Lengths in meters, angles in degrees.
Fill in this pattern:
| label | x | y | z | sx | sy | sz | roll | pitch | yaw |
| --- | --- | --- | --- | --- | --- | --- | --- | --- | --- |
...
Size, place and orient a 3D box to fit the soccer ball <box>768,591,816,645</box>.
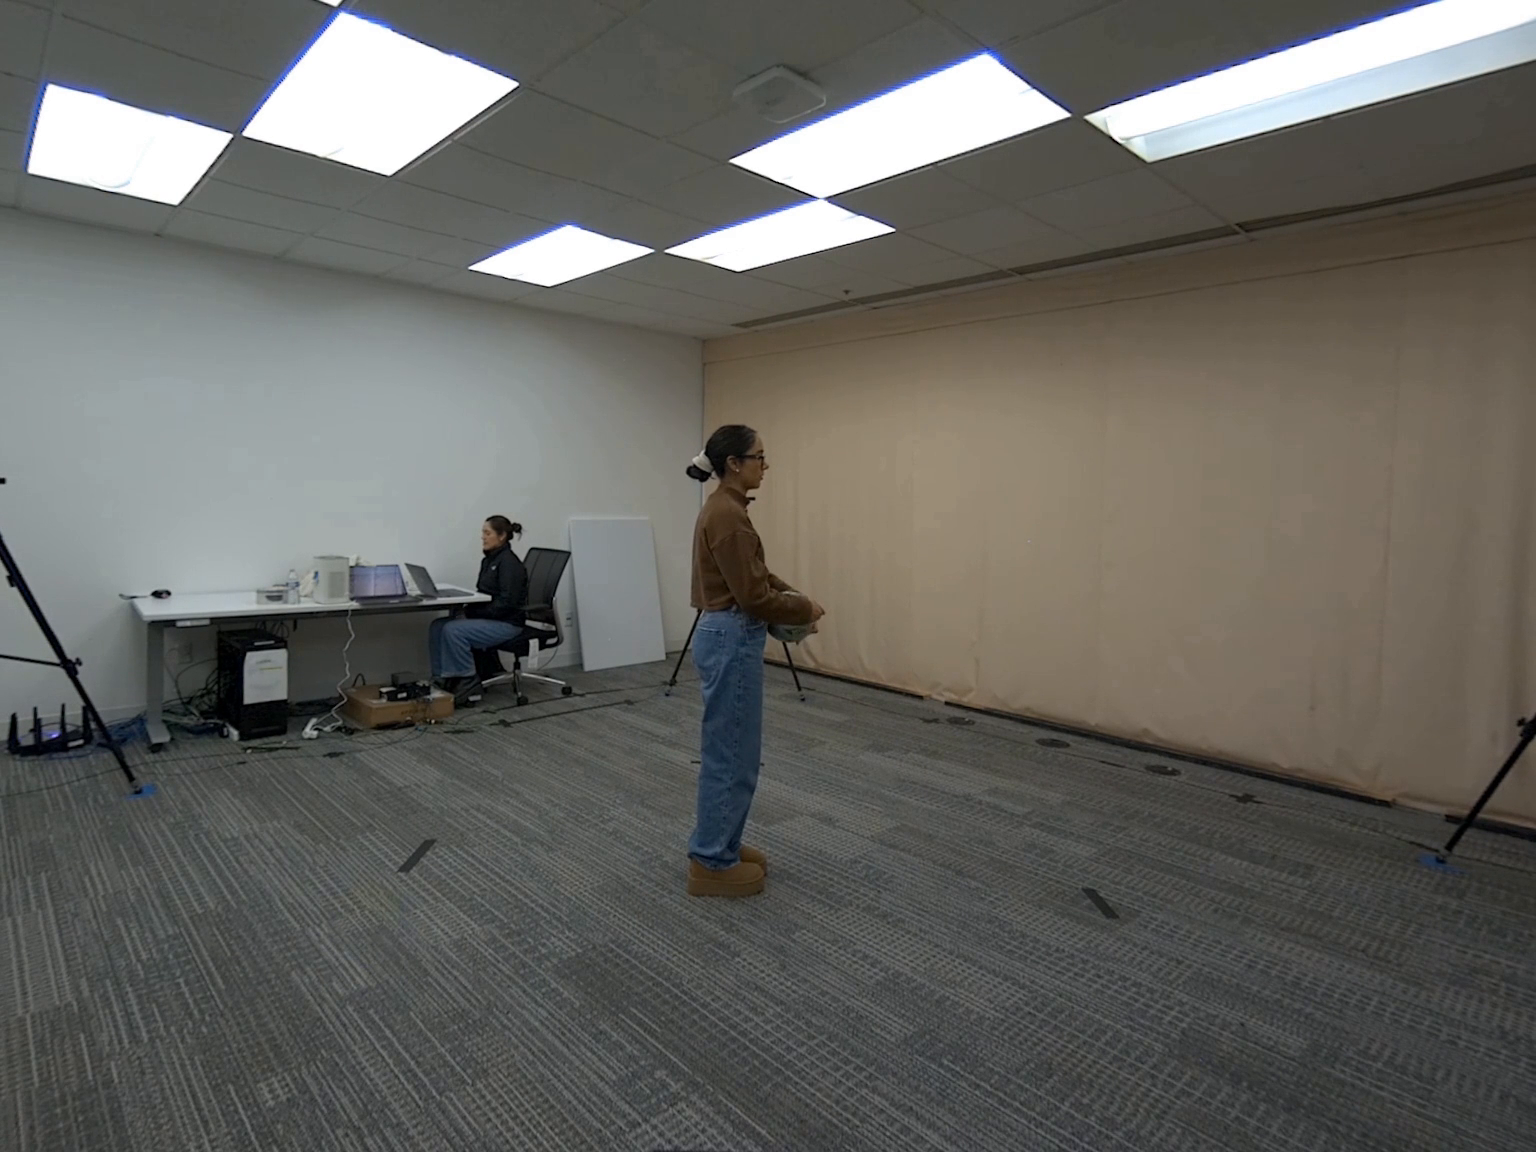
| label | x | y | z | sx | sy | sz | roll | pitch | yaw |
| --- | --- | --- | --- | --- | --- | --- | --- | --- | --- |
| soccer ball | 0.058 | 0.152 | 3.092 | 0.187 | 0.187 | 0.188 | 1 | 4 | -1 |
